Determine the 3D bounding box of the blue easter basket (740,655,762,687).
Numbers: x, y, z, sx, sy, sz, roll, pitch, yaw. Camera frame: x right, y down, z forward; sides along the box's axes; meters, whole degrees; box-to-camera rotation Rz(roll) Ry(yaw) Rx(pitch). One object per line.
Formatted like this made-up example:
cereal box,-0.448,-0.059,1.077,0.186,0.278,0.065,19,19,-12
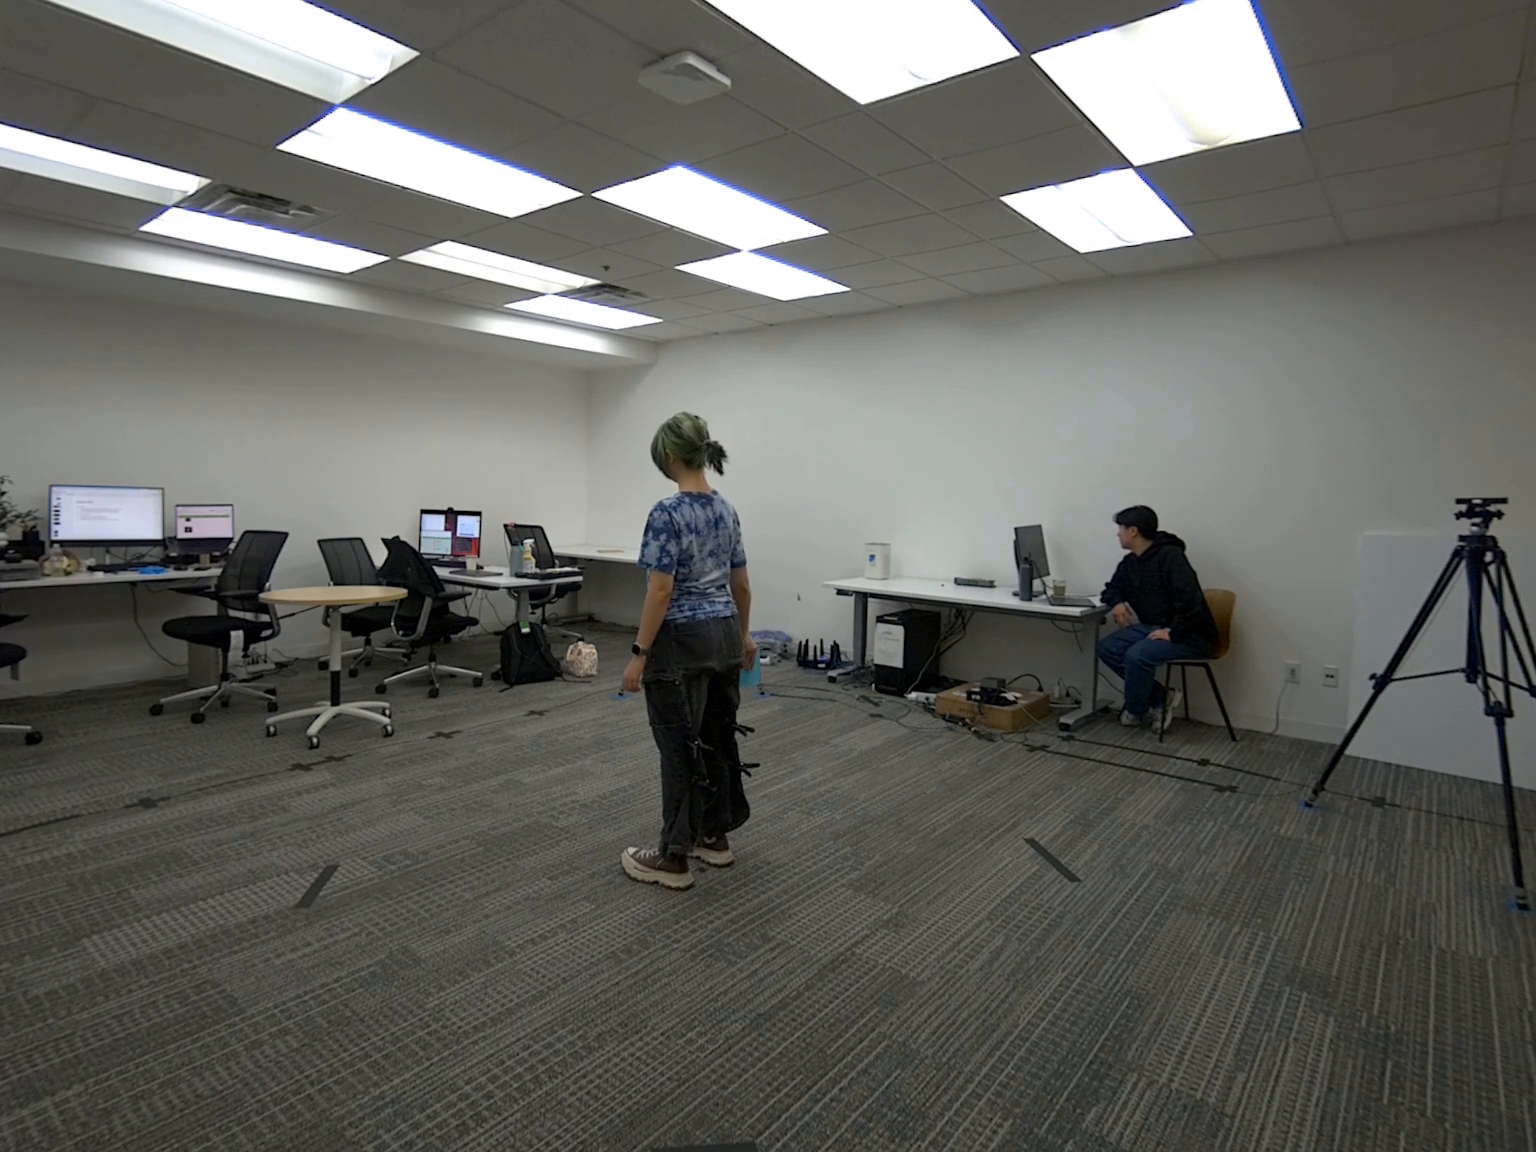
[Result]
blue easter basket,-0.137,0.366,3.482,0.243,0.157,0.242,-9,-6,-3
